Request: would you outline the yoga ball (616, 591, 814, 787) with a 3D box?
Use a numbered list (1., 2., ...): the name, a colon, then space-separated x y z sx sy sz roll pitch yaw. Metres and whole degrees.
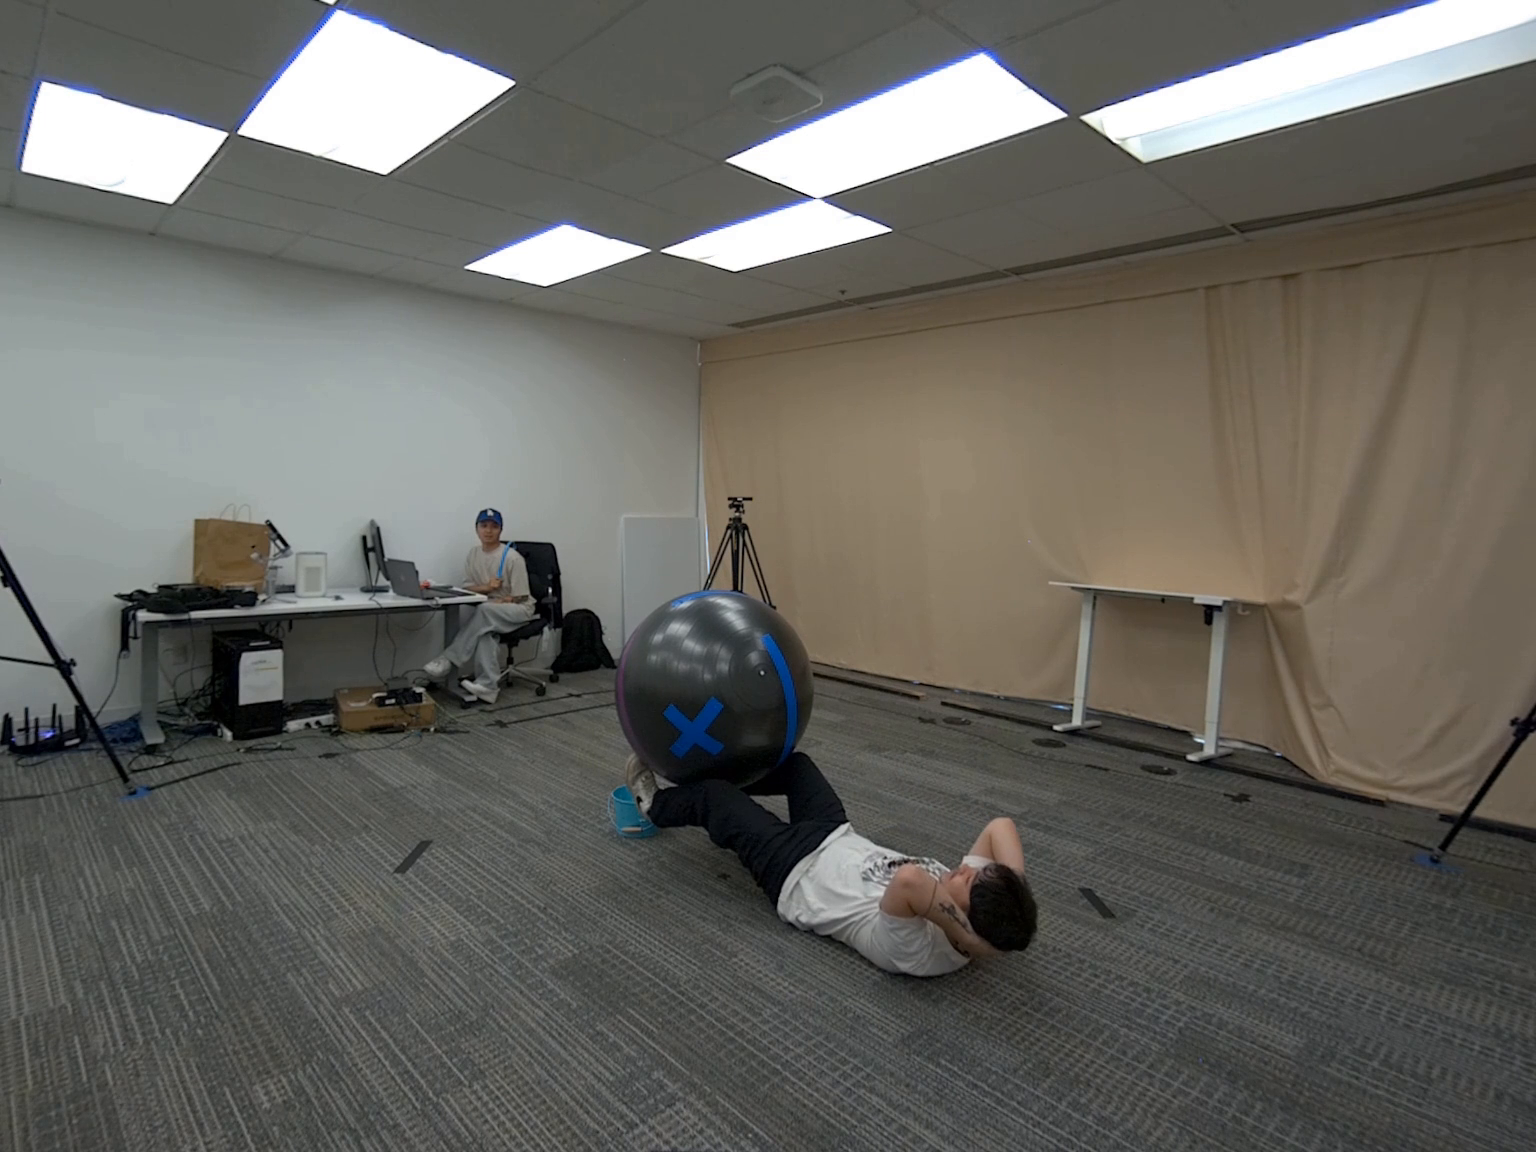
1. yoga ball: -0.211 0.430 3.226 0.757 0.756 0.760 1 4 -1
